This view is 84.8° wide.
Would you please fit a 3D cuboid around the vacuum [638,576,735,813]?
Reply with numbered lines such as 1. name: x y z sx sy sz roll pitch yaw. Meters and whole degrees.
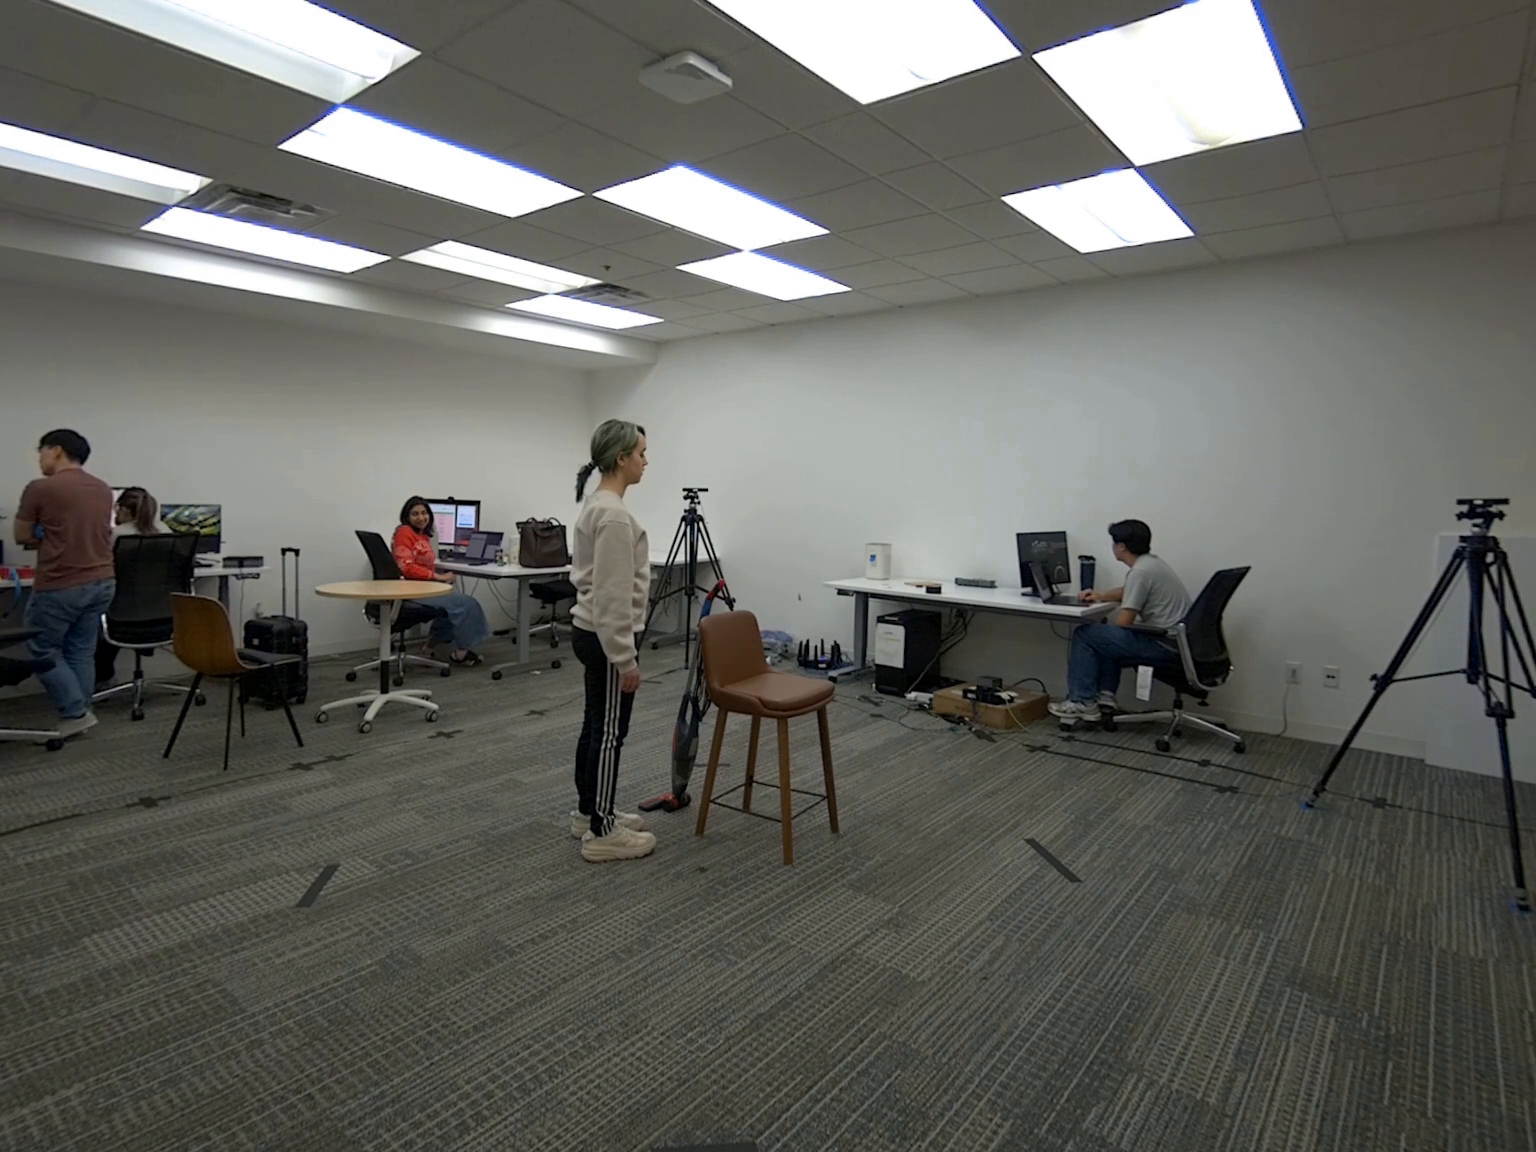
1. vacuum: -0.331 0.521 3.642 0.149 1.042 0.245 22 12 35
